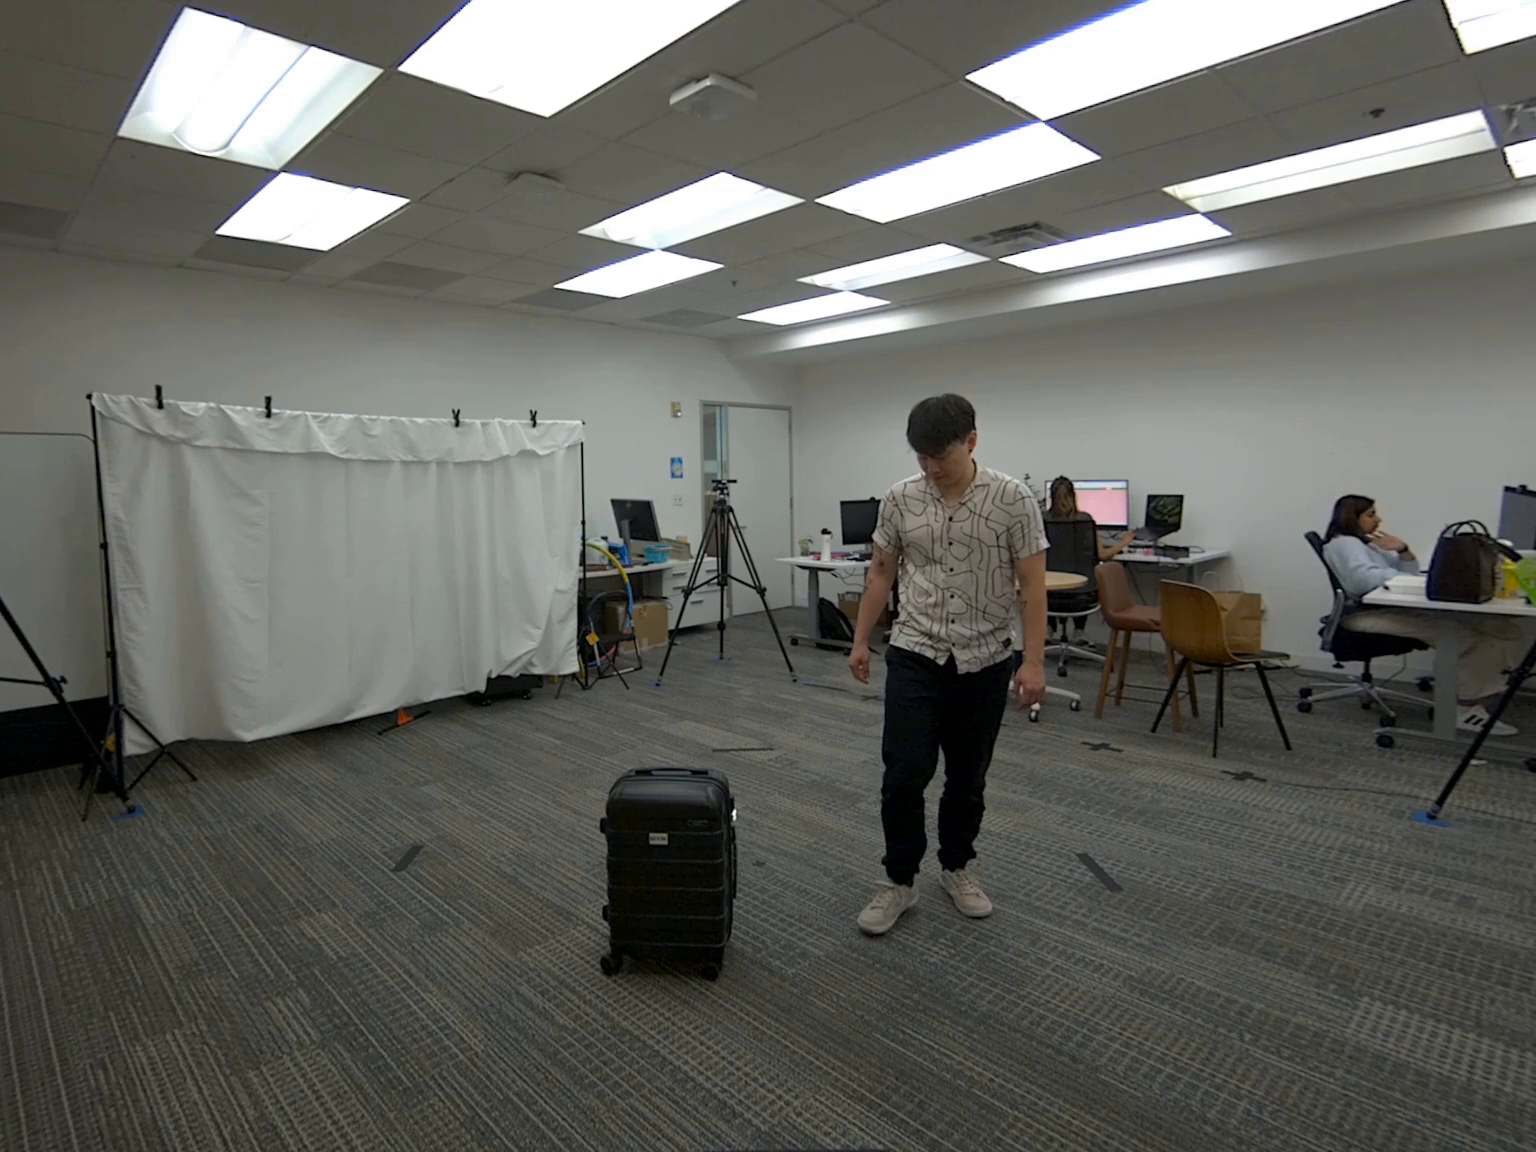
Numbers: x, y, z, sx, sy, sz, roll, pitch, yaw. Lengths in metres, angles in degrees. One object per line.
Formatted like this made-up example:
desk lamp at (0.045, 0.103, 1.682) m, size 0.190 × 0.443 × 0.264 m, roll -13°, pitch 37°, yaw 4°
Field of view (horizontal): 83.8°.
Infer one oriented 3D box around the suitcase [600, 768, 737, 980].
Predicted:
suitcase at (-0.281, 0.849, 2.497) m, size 0.377 × 0.547 × 0.248 m, roll 1°, pitch 4°, yaw 3°
